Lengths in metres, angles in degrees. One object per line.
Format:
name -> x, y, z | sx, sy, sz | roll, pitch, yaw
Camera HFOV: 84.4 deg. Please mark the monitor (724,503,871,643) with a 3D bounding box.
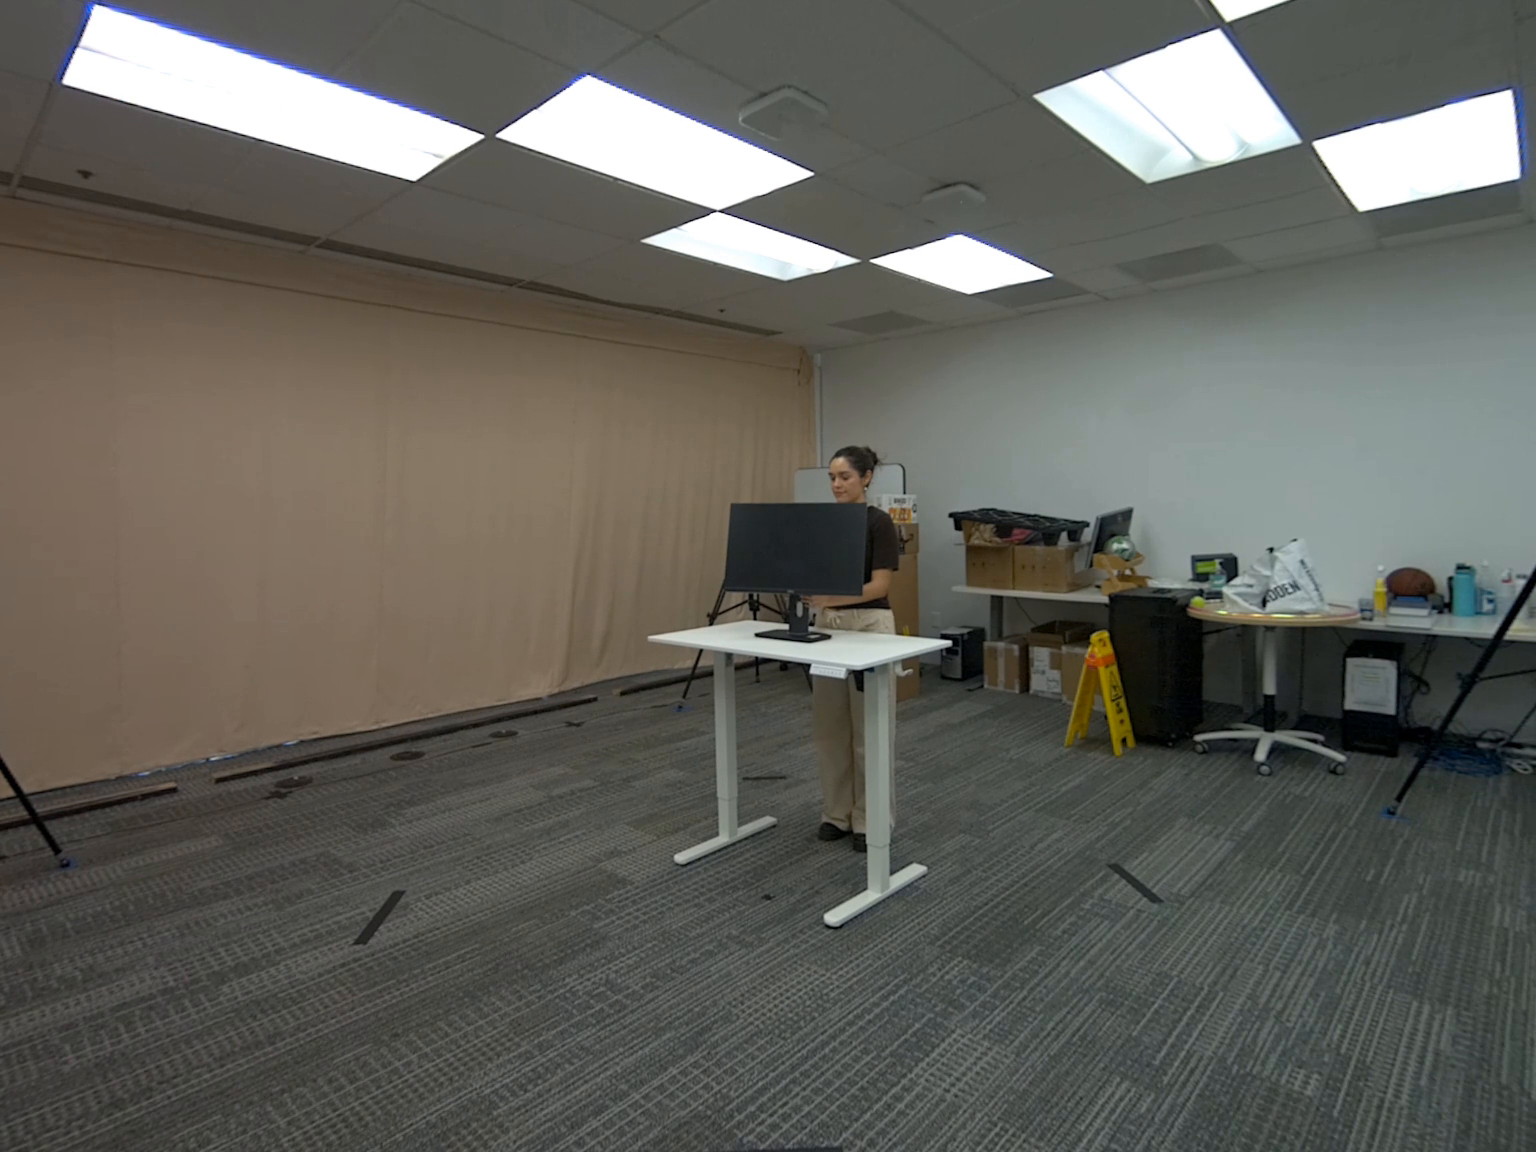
monitor -> 0.107, -0.017, 3.214 | 0.549, 0.522, 0.184 | 2, 2, 17
